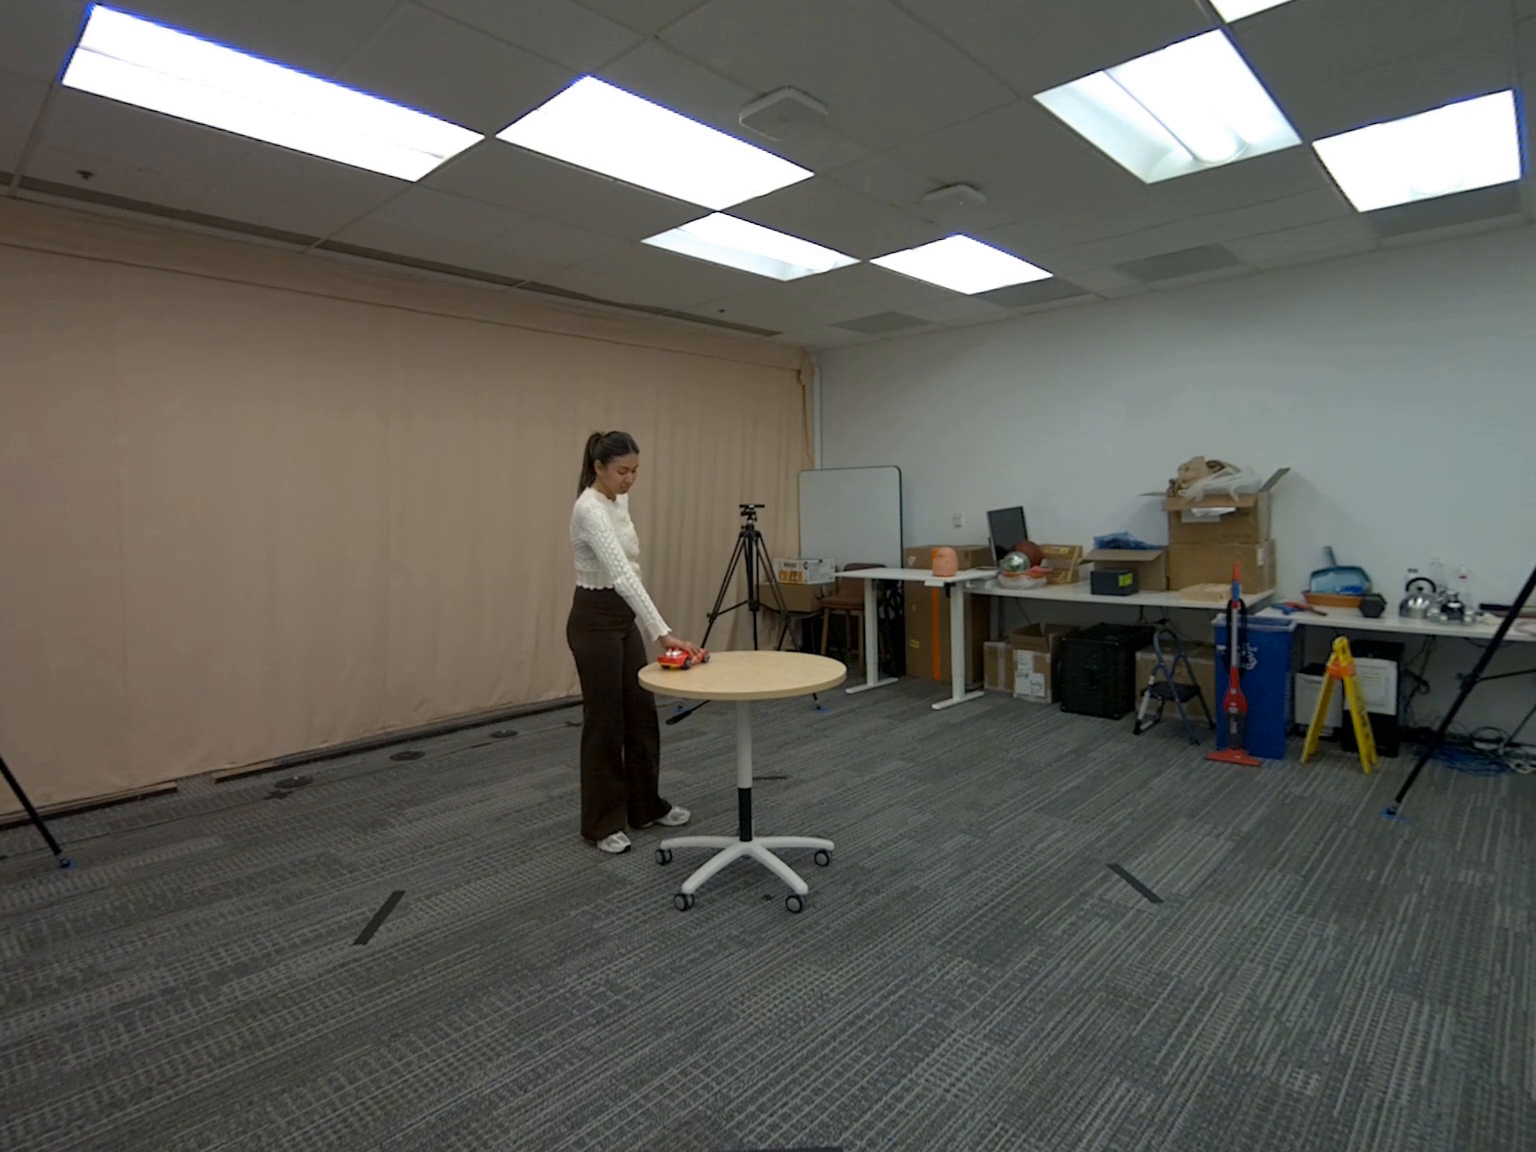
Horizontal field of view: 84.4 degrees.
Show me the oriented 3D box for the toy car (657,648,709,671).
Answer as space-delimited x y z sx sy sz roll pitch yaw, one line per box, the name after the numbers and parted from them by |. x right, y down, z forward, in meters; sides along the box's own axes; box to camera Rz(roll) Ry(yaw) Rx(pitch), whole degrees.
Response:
-0.324 0.314 3.204 0.134 0.083 0.247 1 -6 27 | toy car
